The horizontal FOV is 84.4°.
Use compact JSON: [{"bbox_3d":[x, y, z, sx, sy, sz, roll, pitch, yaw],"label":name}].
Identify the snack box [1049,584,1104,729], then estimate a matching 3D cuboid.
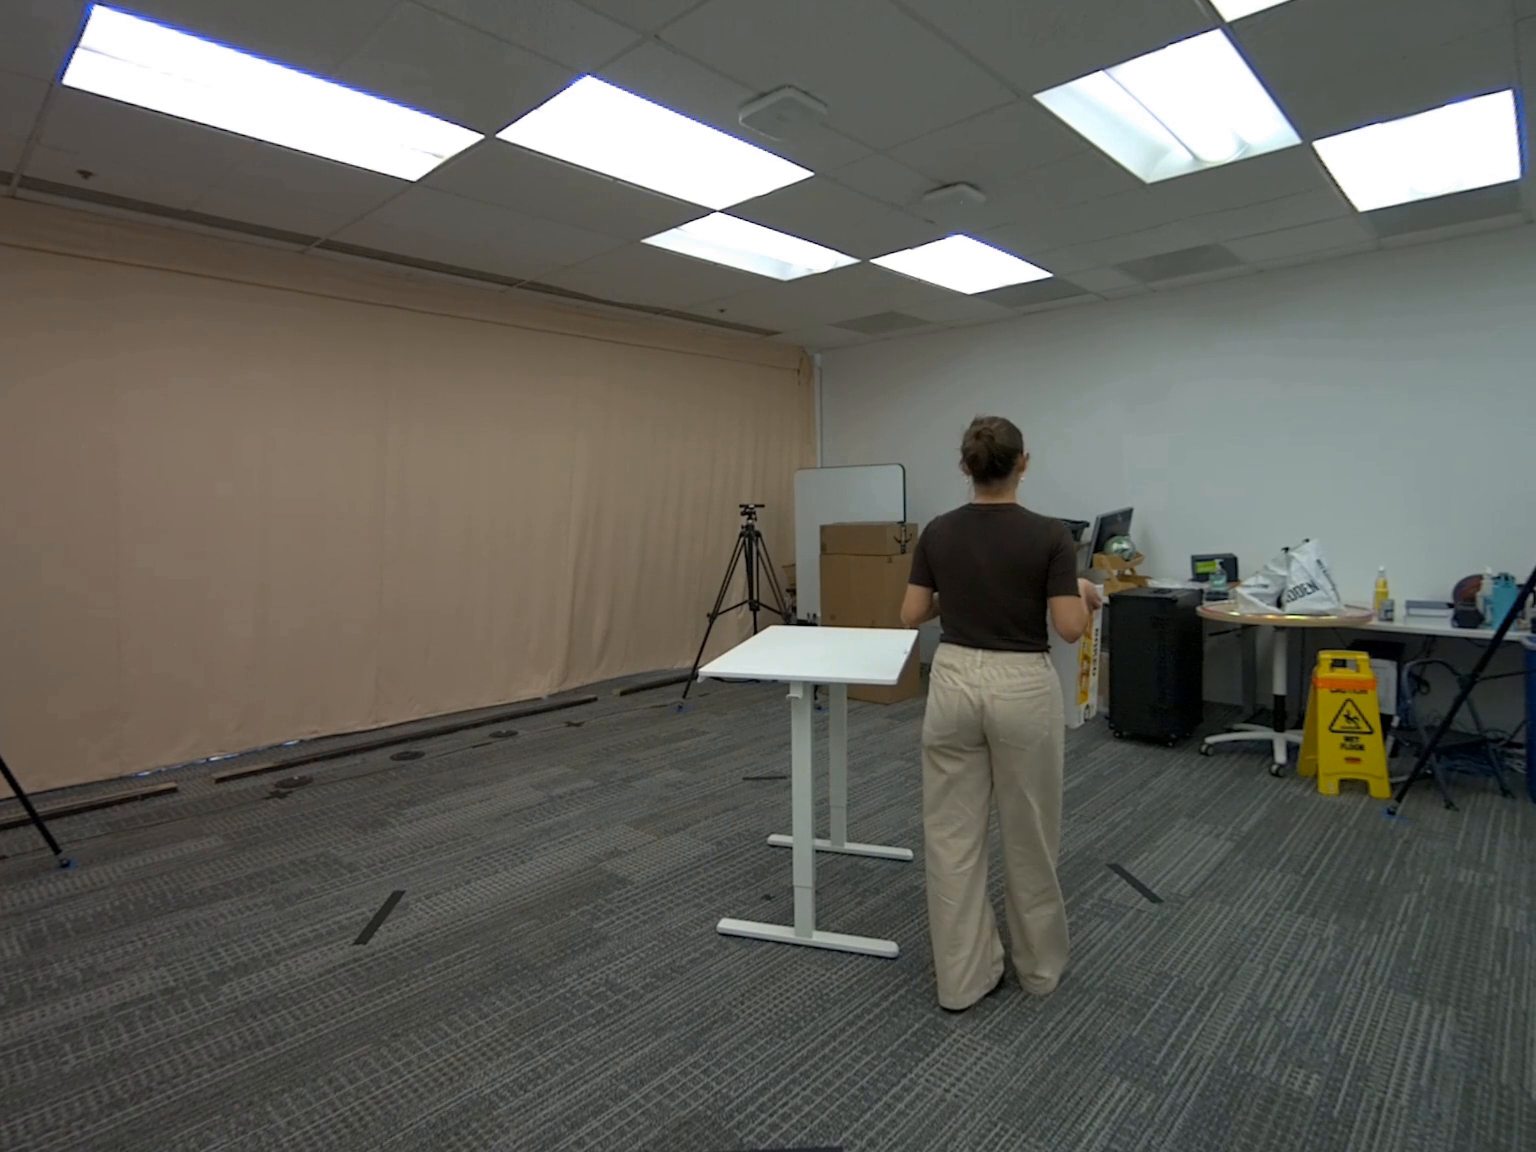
[{"bbox_3d":[0.837,0.219,2.585,0.351,0.404,0.199,6,6,36],"label":"snack box"}]
